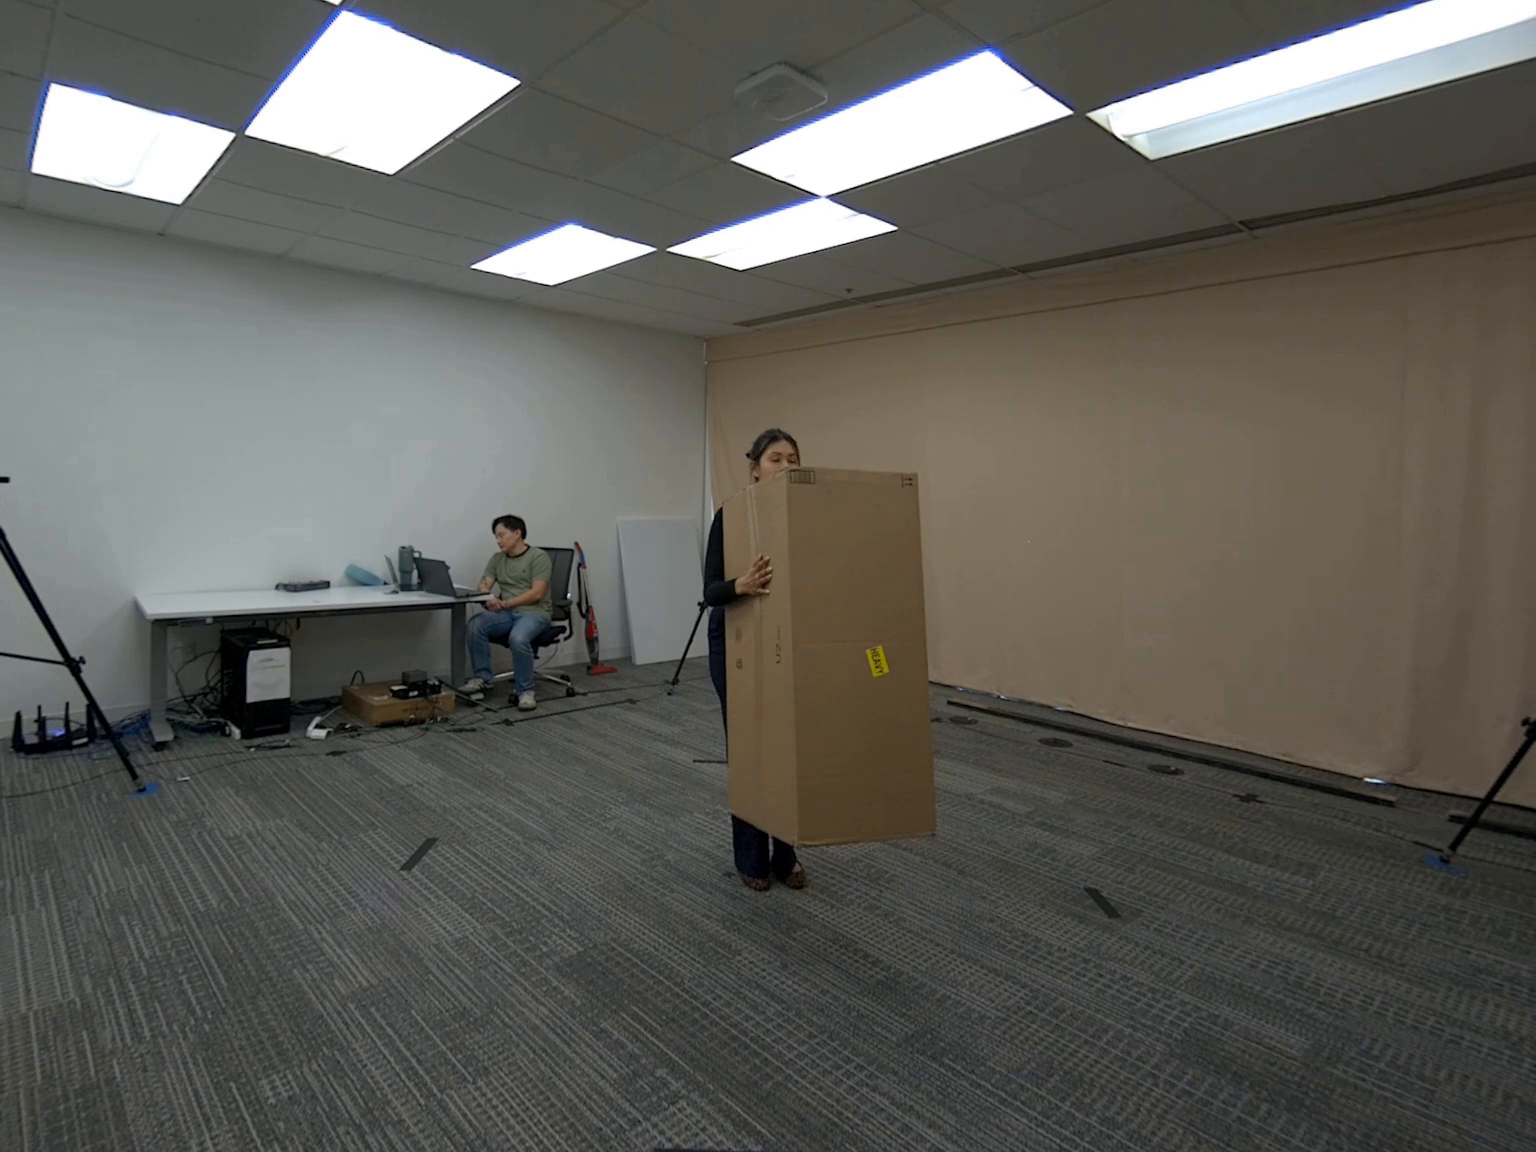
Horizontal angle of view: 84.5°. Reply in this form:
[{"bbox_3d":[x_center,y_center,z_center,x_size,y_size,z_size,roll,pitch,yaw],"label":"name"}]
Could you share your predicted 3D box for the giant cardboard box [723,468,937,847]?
[{"bbox_3d":[0.156,0.242,2.594,0.420,1.032,0.583,1,-8,-21],"label":"giant cardboard box"}]
